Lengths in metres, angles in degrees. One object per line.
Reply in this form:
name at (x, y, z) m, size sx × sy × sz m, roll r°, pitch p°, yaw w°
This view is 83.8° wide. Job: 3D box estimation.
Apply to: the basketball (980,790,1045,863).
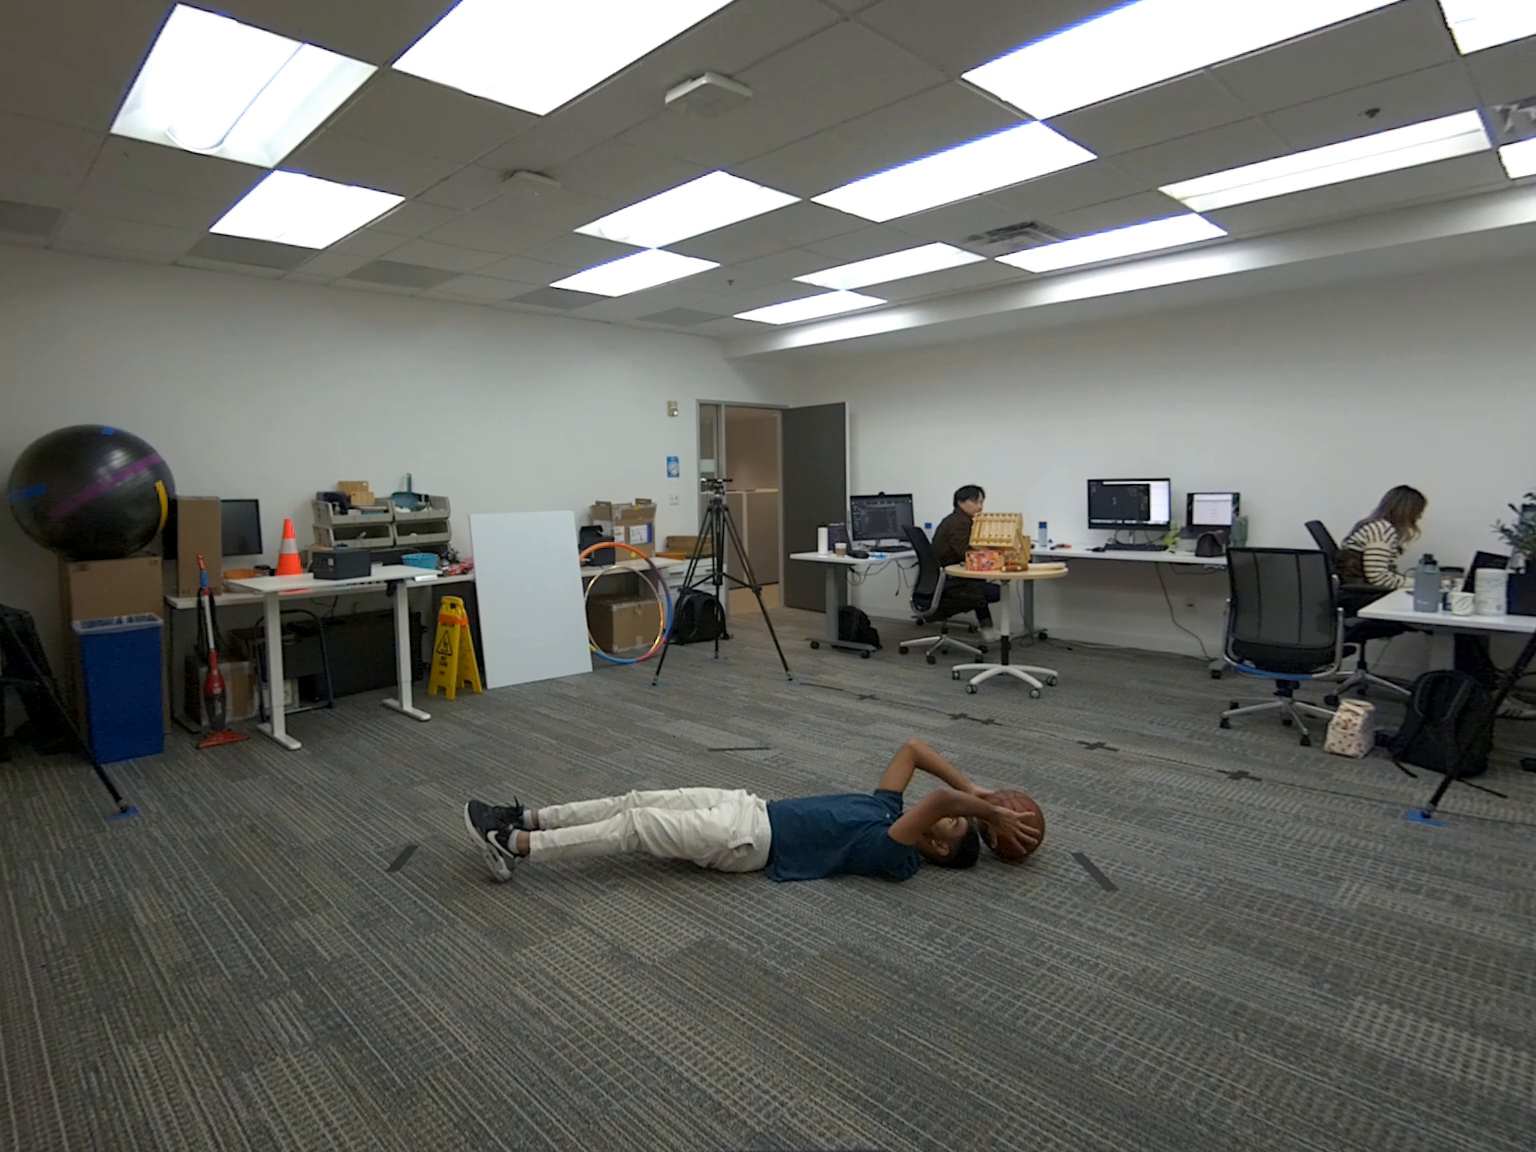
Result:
basketball at (0.894, 0.905, 3.133) m, size 0.236 × 0.235 × 0.237 m, roll -1°, pitch 5°, yaw -2°
